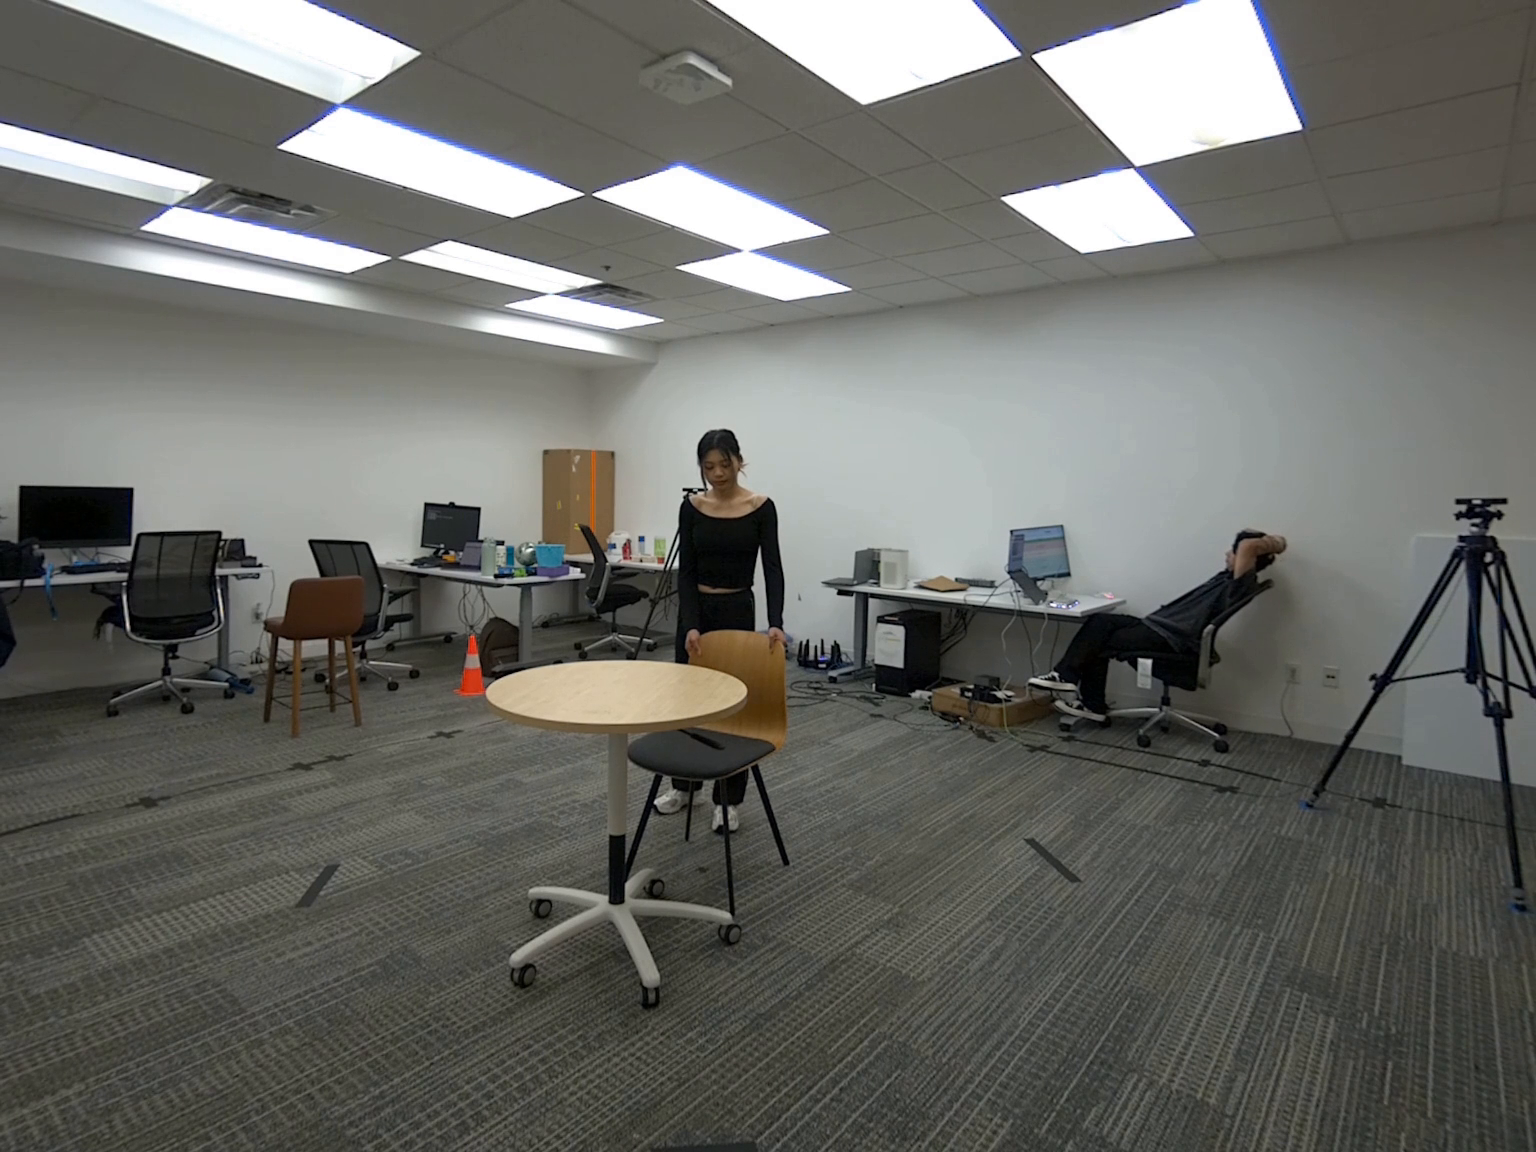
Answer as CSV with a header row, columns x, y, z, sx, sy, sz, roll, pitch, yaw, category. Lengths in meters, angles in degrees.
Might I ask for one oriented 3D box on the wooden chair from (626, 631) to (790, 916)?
x,y,z,sx,sy,sz,roll,pitch,yaw,category
-0.222,0.646,3.037,0.491,0.878,0.508,3,0,27,wooden chair
